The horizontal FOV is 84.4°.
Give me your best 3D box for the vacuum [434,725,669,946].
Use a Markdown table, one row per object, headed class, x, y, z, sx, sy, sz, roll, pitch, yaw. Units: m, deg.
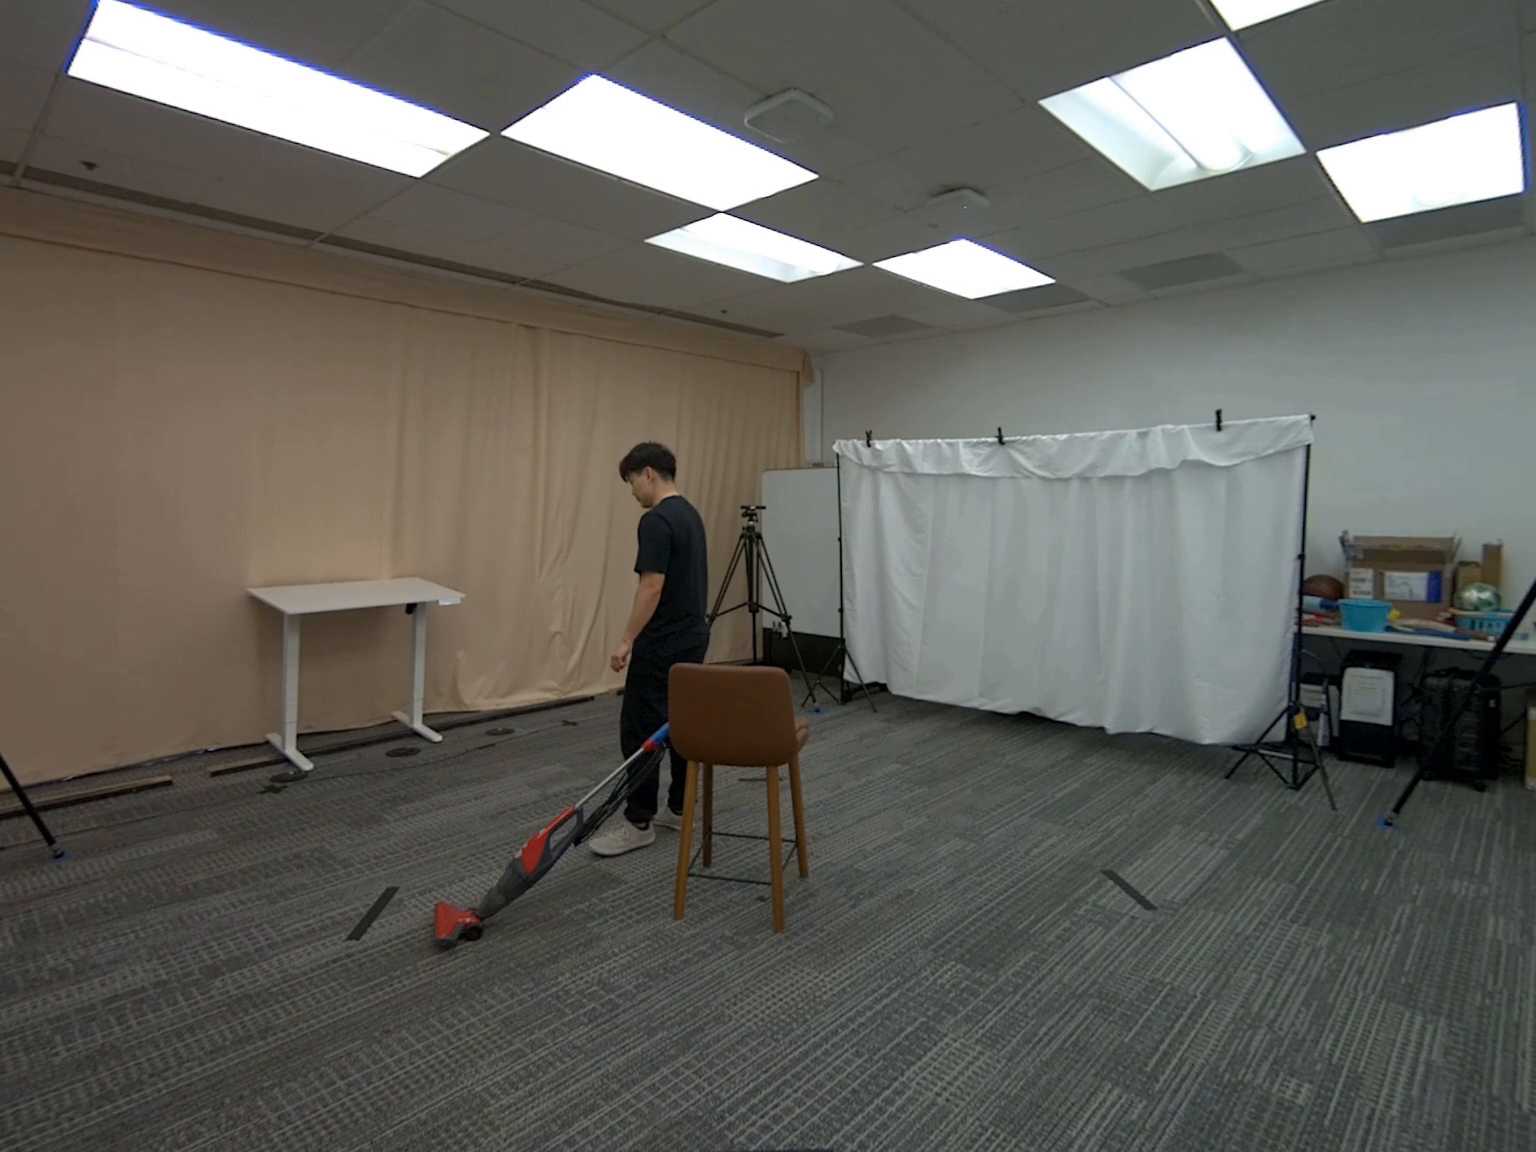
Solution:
| class | x | y | z | sx | sy | sz | roll | pitch | yaw |
| --- | --- | --- | --- | --- | --- | --- | --- | --- | --- |
| vacuum | -0.638 | 0.823 | 2.880 | 1.042 | 0.141 | 0.259 | -40 | 18 | -15 |
